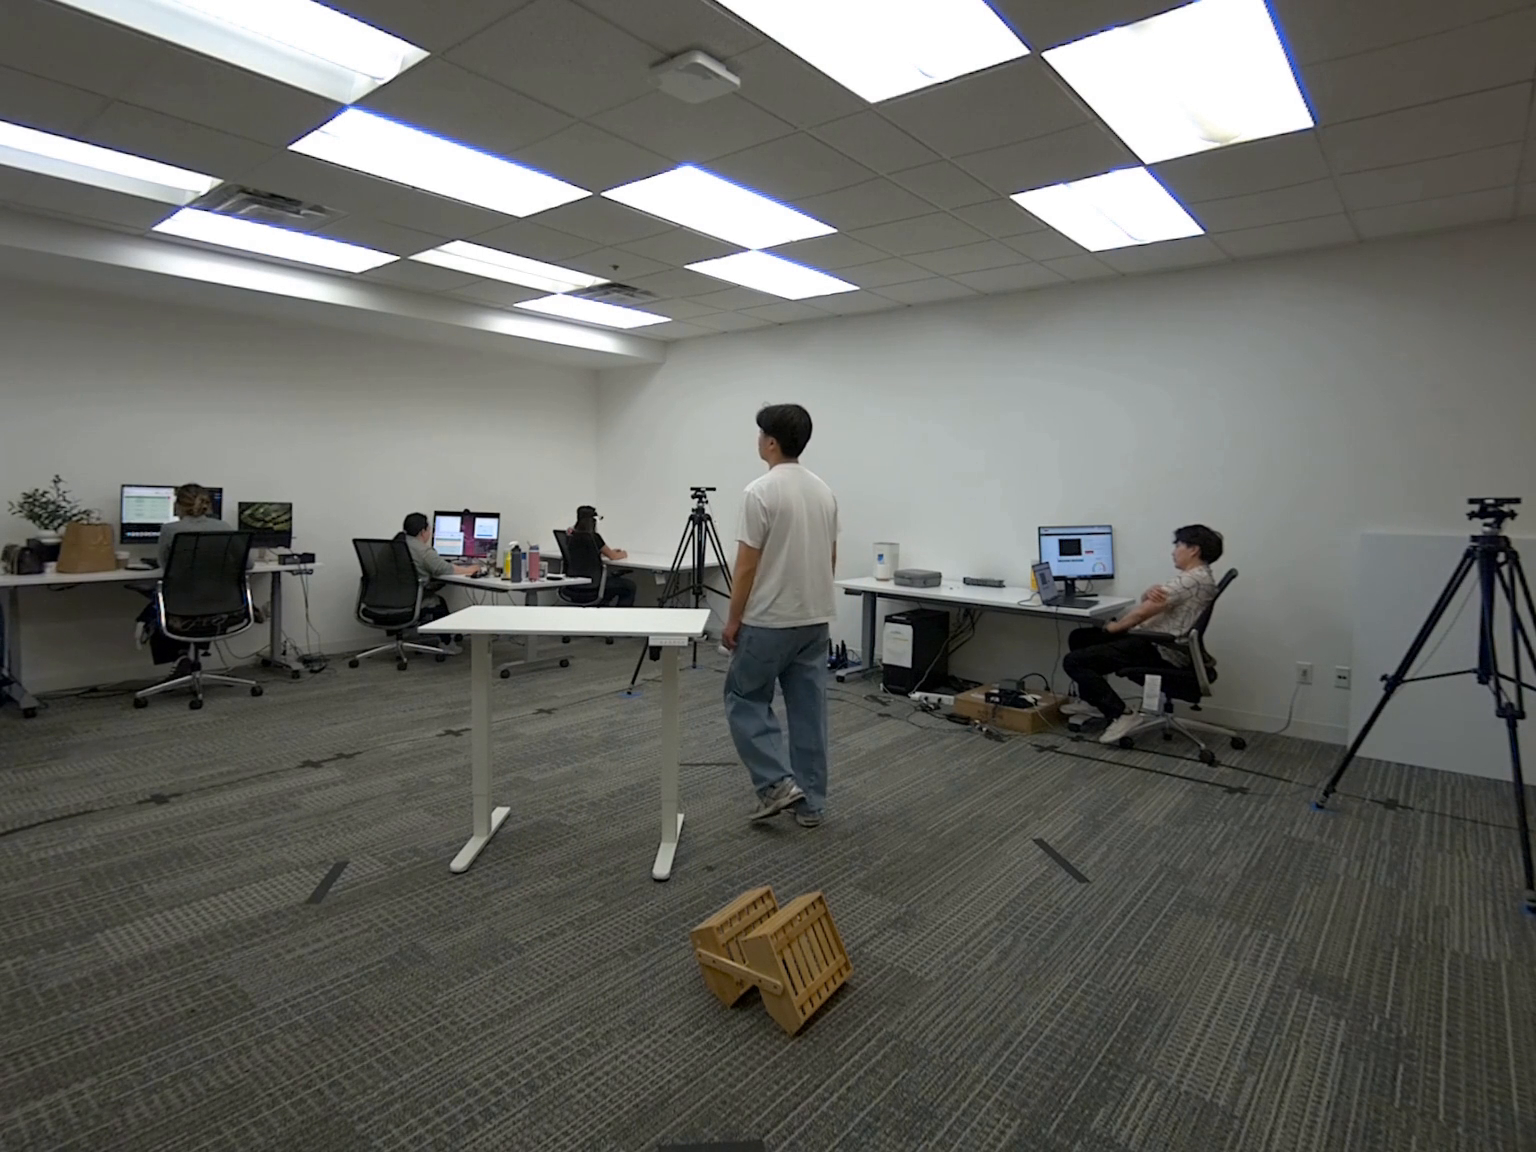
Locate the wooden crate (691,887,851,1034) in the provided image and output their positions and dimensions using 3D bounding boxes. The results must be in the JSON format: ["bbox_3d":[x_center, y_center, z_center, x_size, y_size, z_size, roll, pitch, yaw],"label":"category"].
[{"bbox_3d":[0.004,1.054,2.369,0.276,0.307,0.315,-29,-13,31],"label":"wooden crate"}]
